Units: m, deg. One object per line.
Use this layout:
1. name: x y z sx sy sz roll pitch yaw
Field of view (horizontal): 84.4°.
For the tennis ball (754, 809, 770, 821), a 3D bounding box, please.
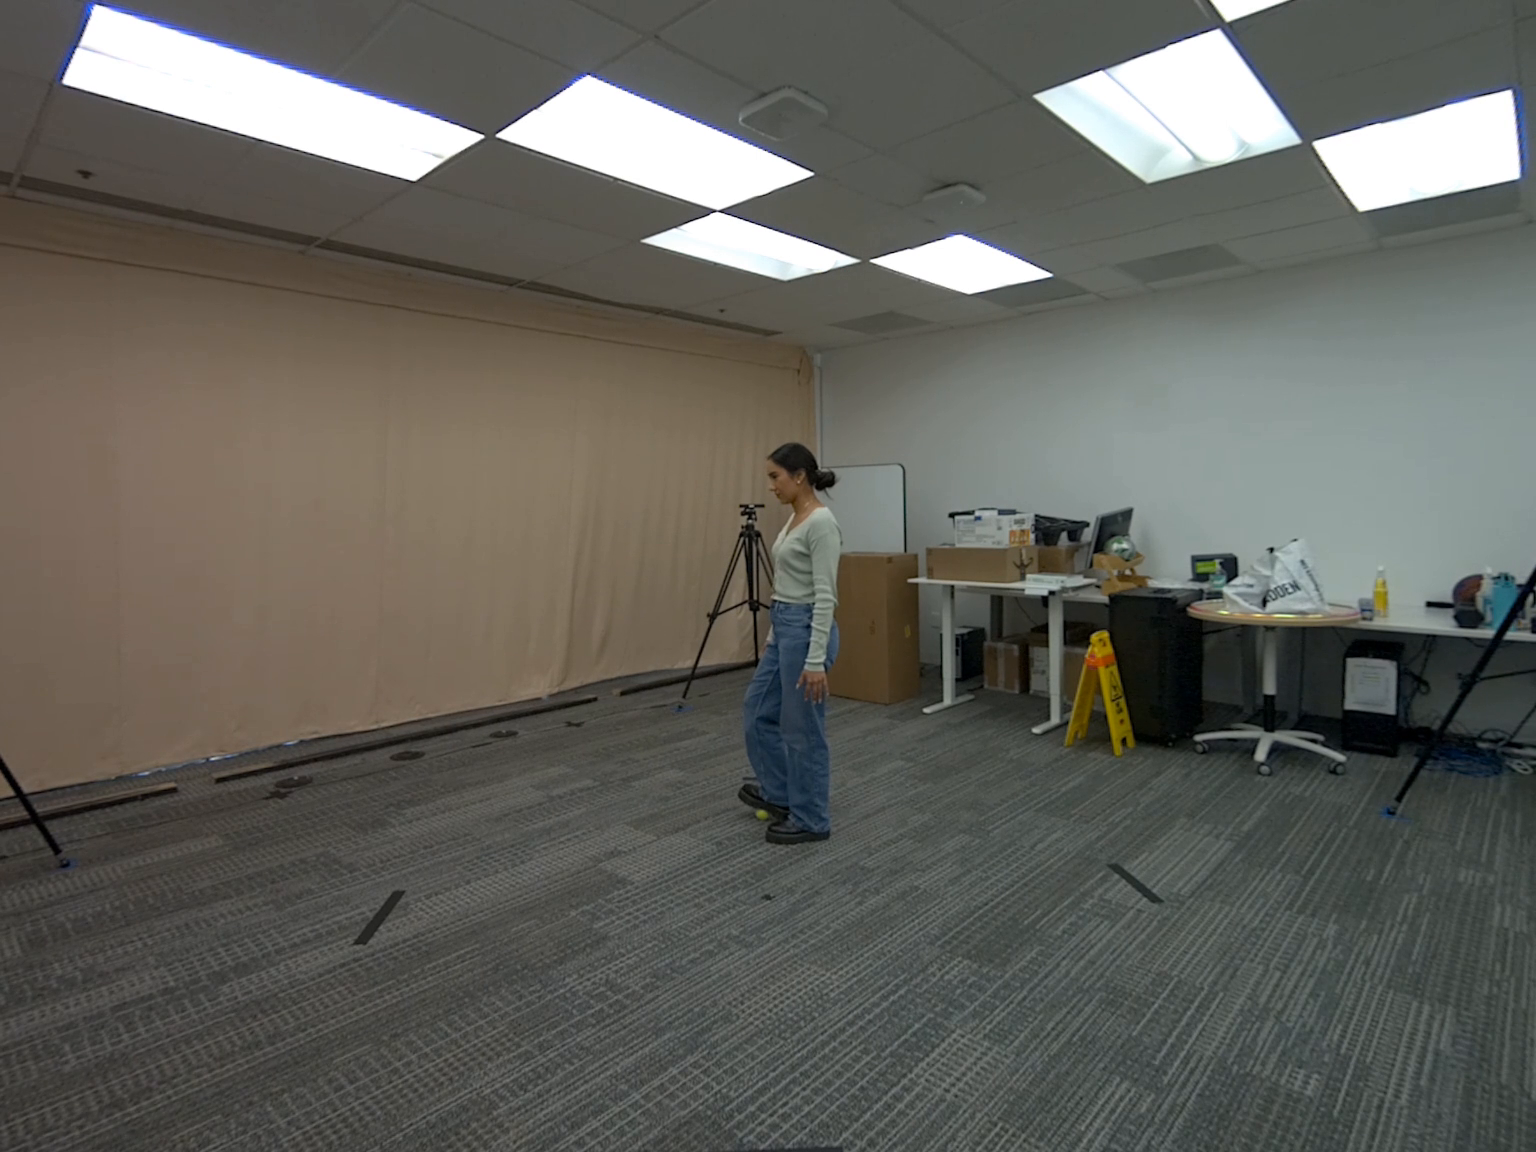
1. tennis ball: -0.021 1.063 3.741 0.066 0.066 0.067 -1 4 -2
